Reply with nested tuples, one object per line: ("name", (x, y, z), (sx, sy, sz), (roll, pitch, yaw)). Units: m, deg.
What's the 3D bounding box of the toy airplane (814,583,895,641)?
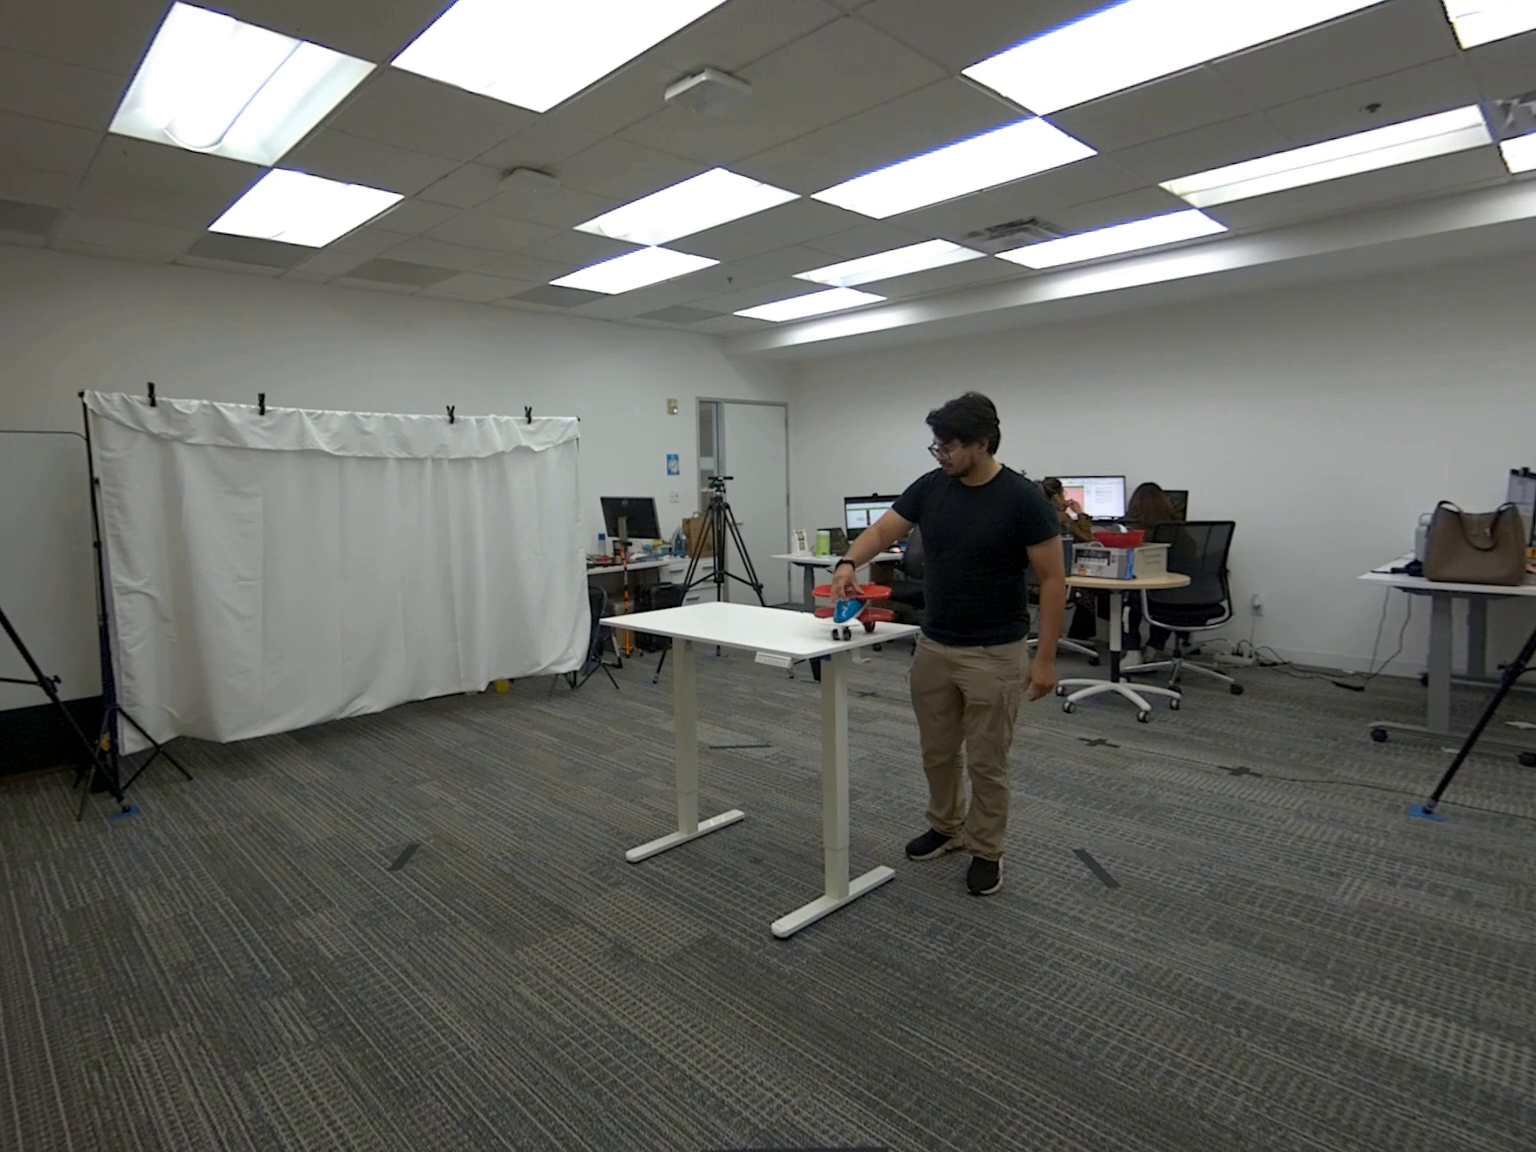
("toy airplane", (0.285, 0.111, 2.711), (0.250, 0.156, 0.261), (-3, 4, -5))
